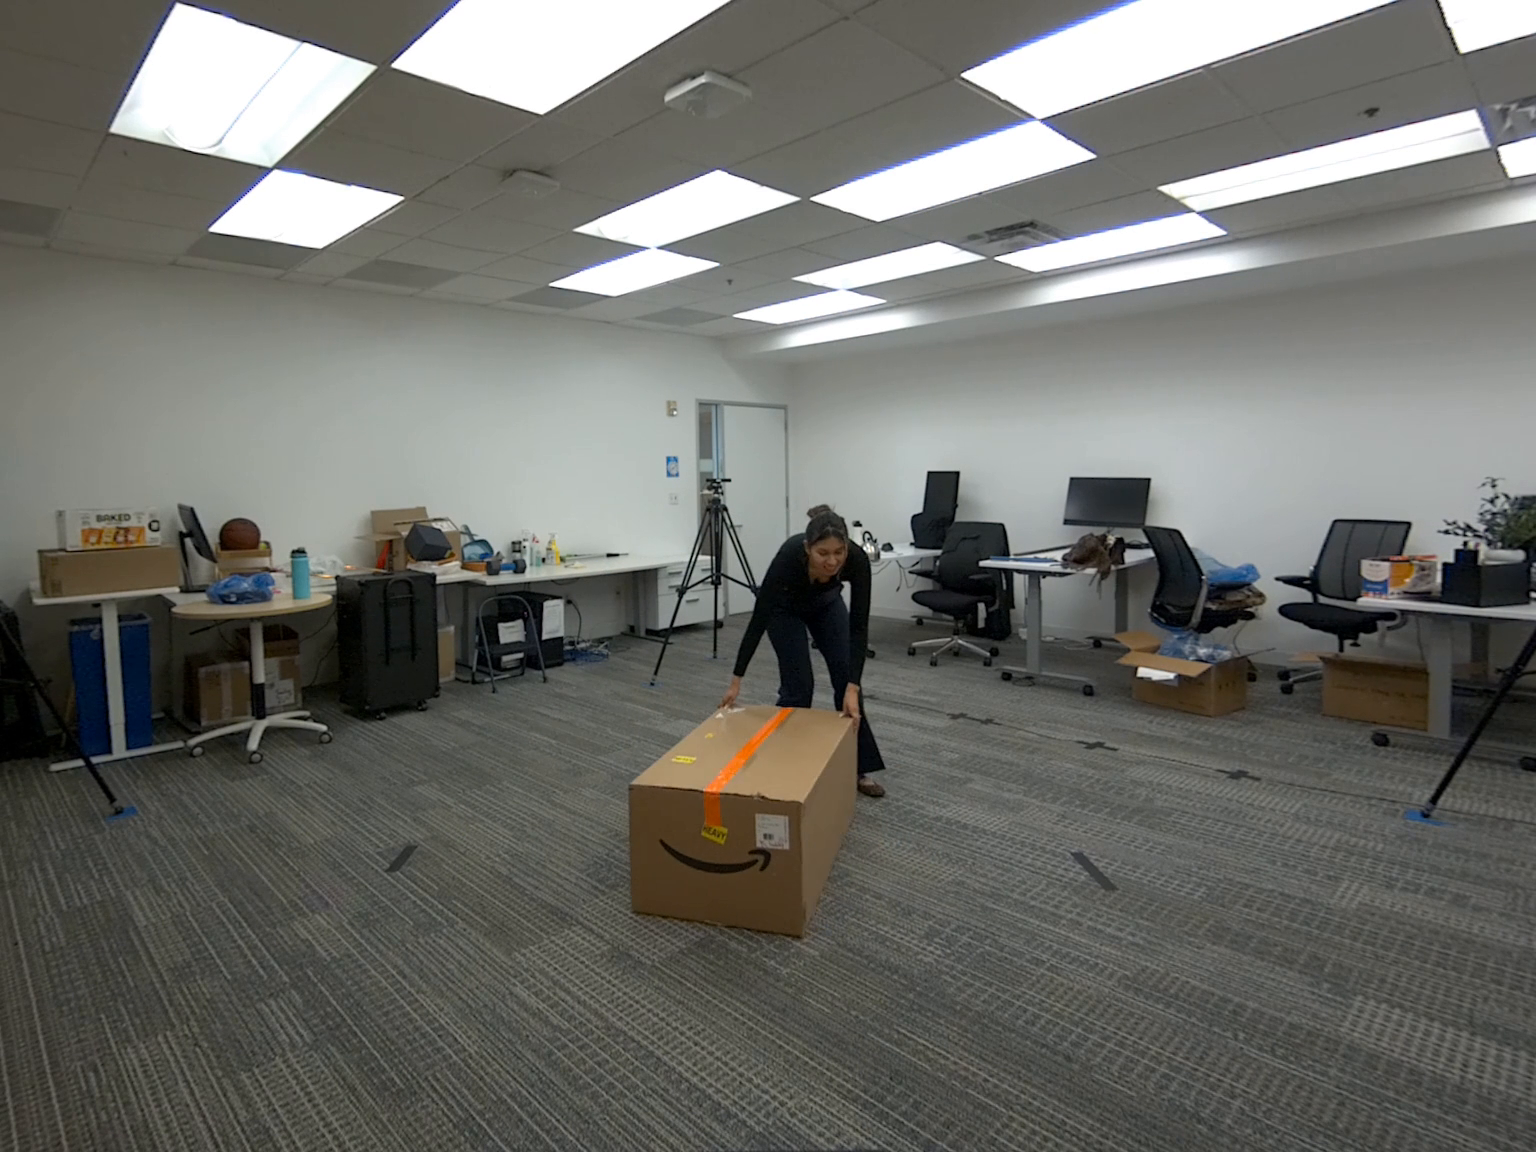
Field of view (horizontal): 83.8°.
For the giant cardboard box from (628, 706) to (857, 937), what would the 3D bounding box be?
[{"bbox_3d":[-0.042,0.824,3.148,0.587,0.424,1.014,0,6,16],"label":"giant cardboard box"}]
